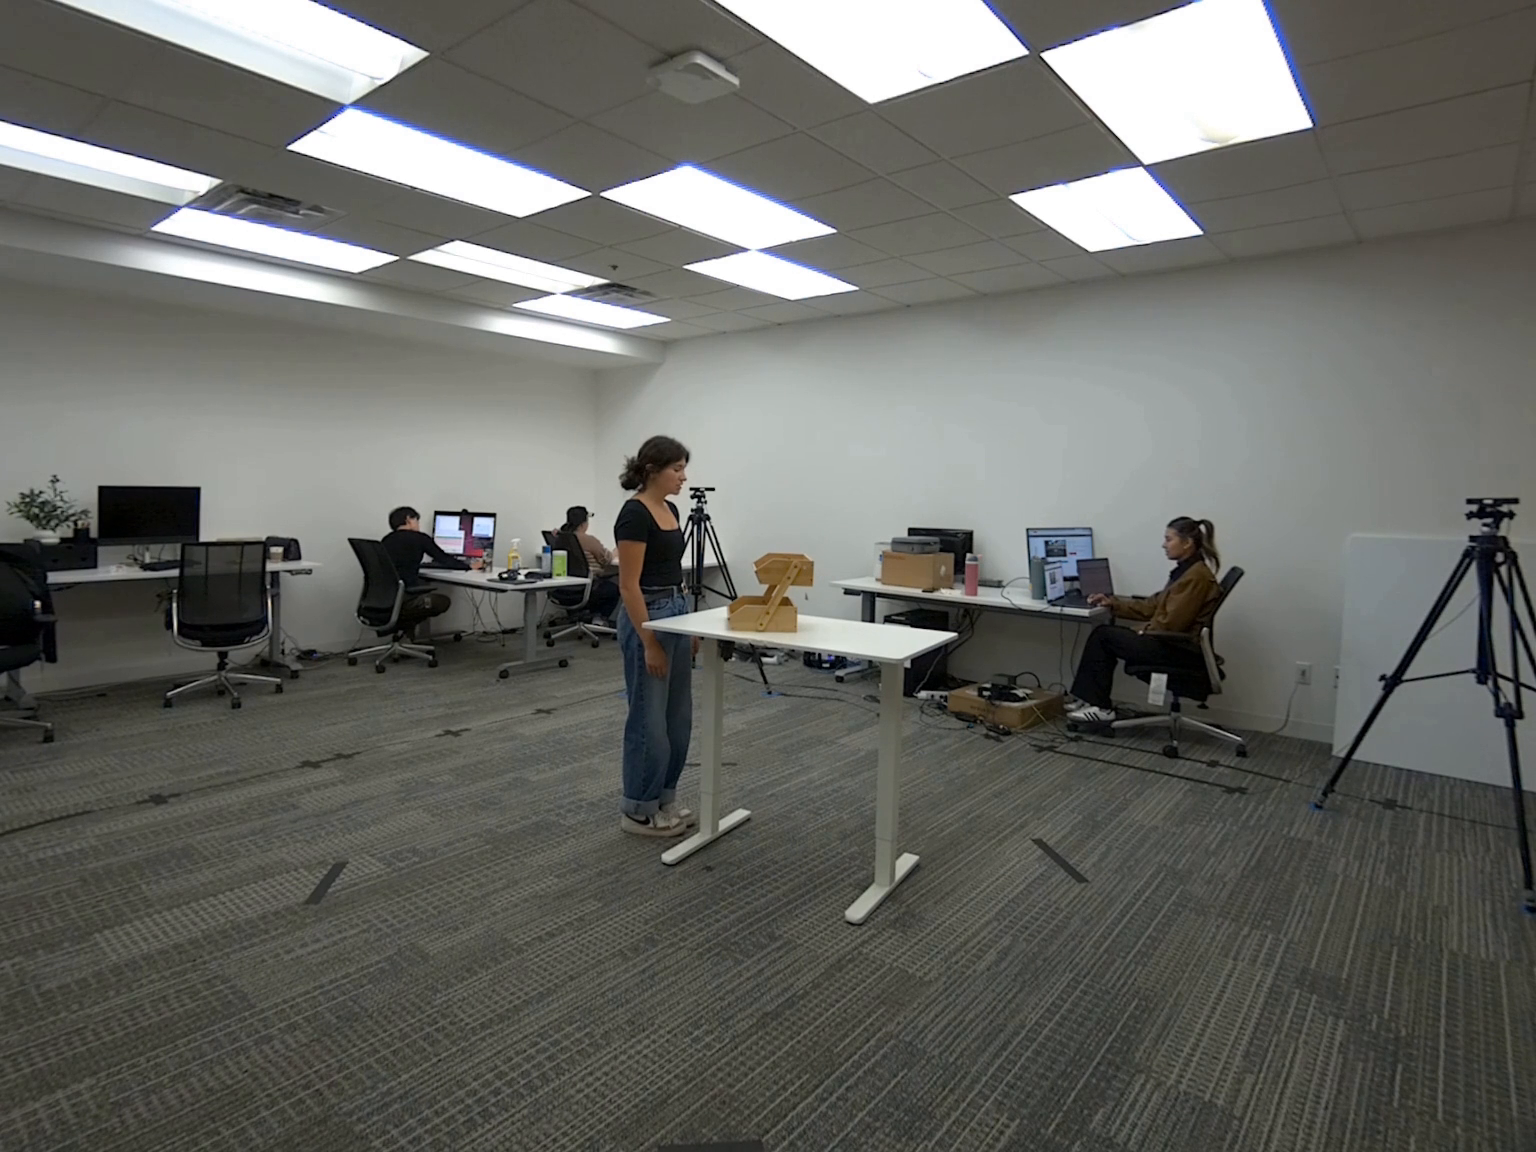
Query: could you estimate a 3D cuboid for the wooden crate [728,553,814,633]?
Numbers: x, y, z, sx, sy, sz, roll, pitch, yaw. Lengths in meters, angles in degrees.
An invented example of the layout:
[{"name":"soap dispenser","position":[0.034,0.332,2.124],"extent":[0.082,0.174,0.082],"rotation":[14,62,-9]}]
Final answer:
[{"name":"wooden crate","position":[-0.011,0.054,3.176],"extent":[0.301,0.272,0.326],"rotation":[1,5,-3]}]
